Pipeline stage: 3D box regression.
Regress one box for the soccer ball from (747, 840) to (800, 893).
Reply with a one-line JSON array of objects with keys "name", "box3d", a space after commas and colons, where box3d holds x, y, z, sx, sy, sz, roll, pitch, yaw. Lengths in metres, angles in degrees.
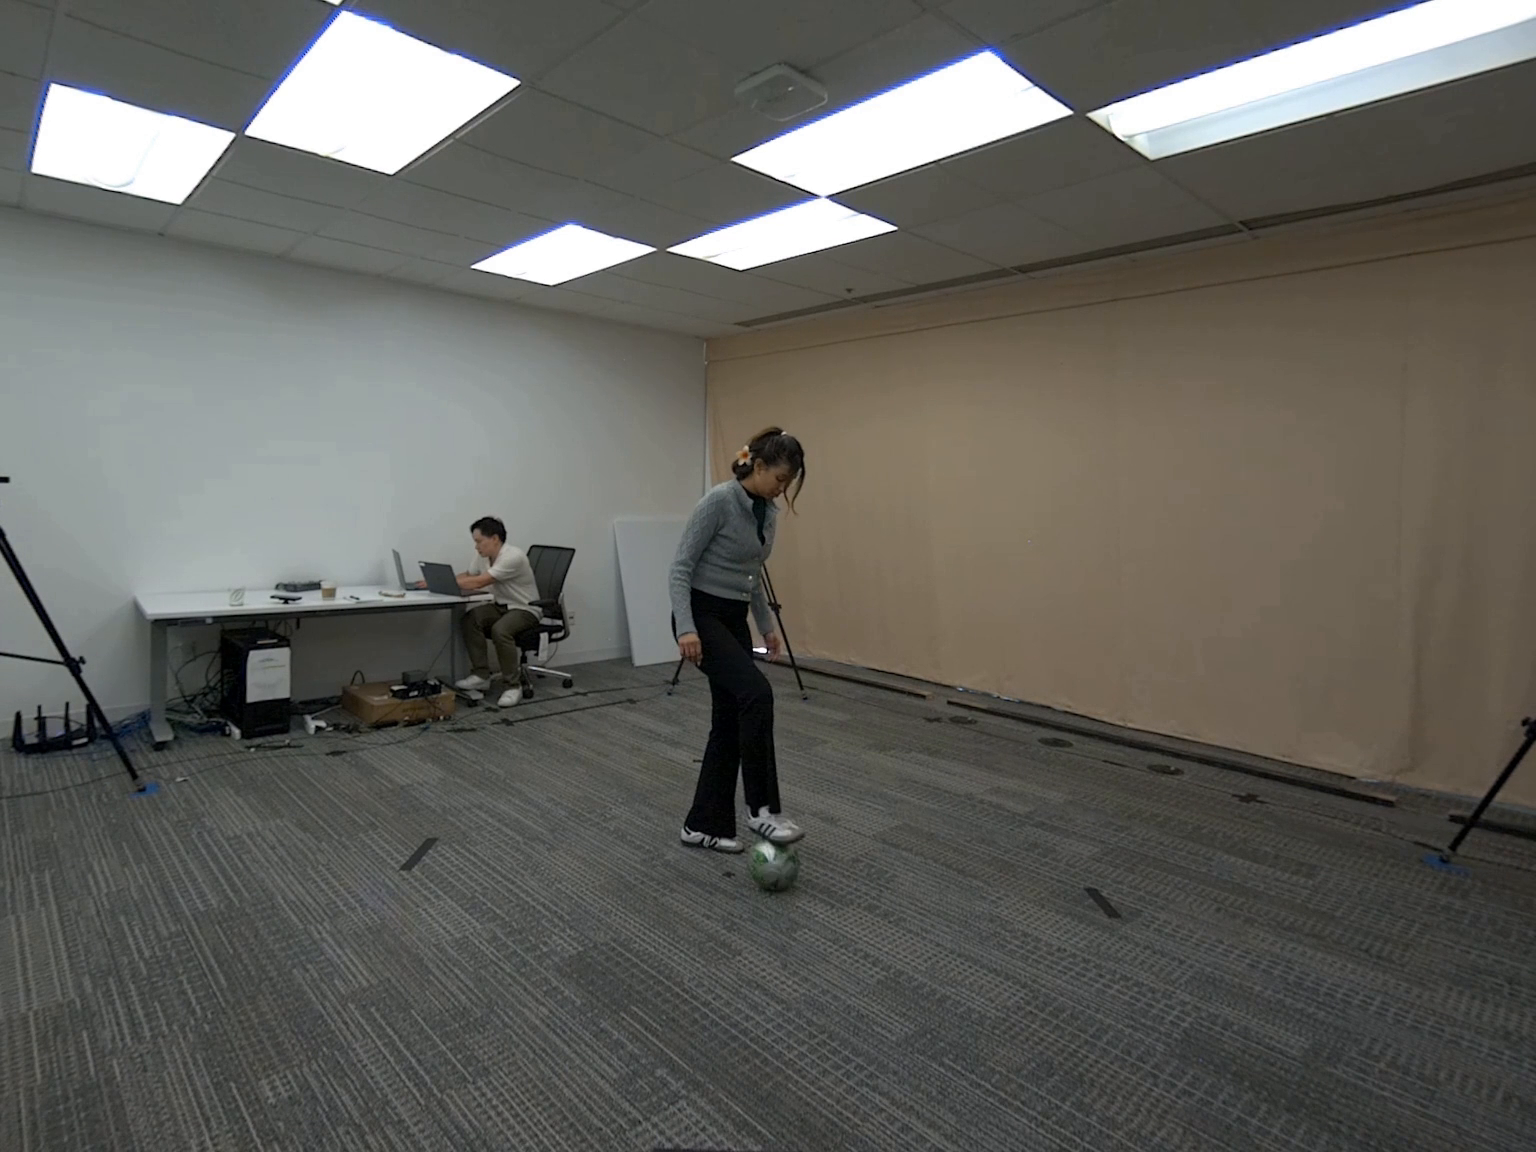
[{"name": "soccer ball", "box3d": [0.007, 1.020, 3.001, 0.187, 0.187, 0.188, 1, 4, -1]}]
